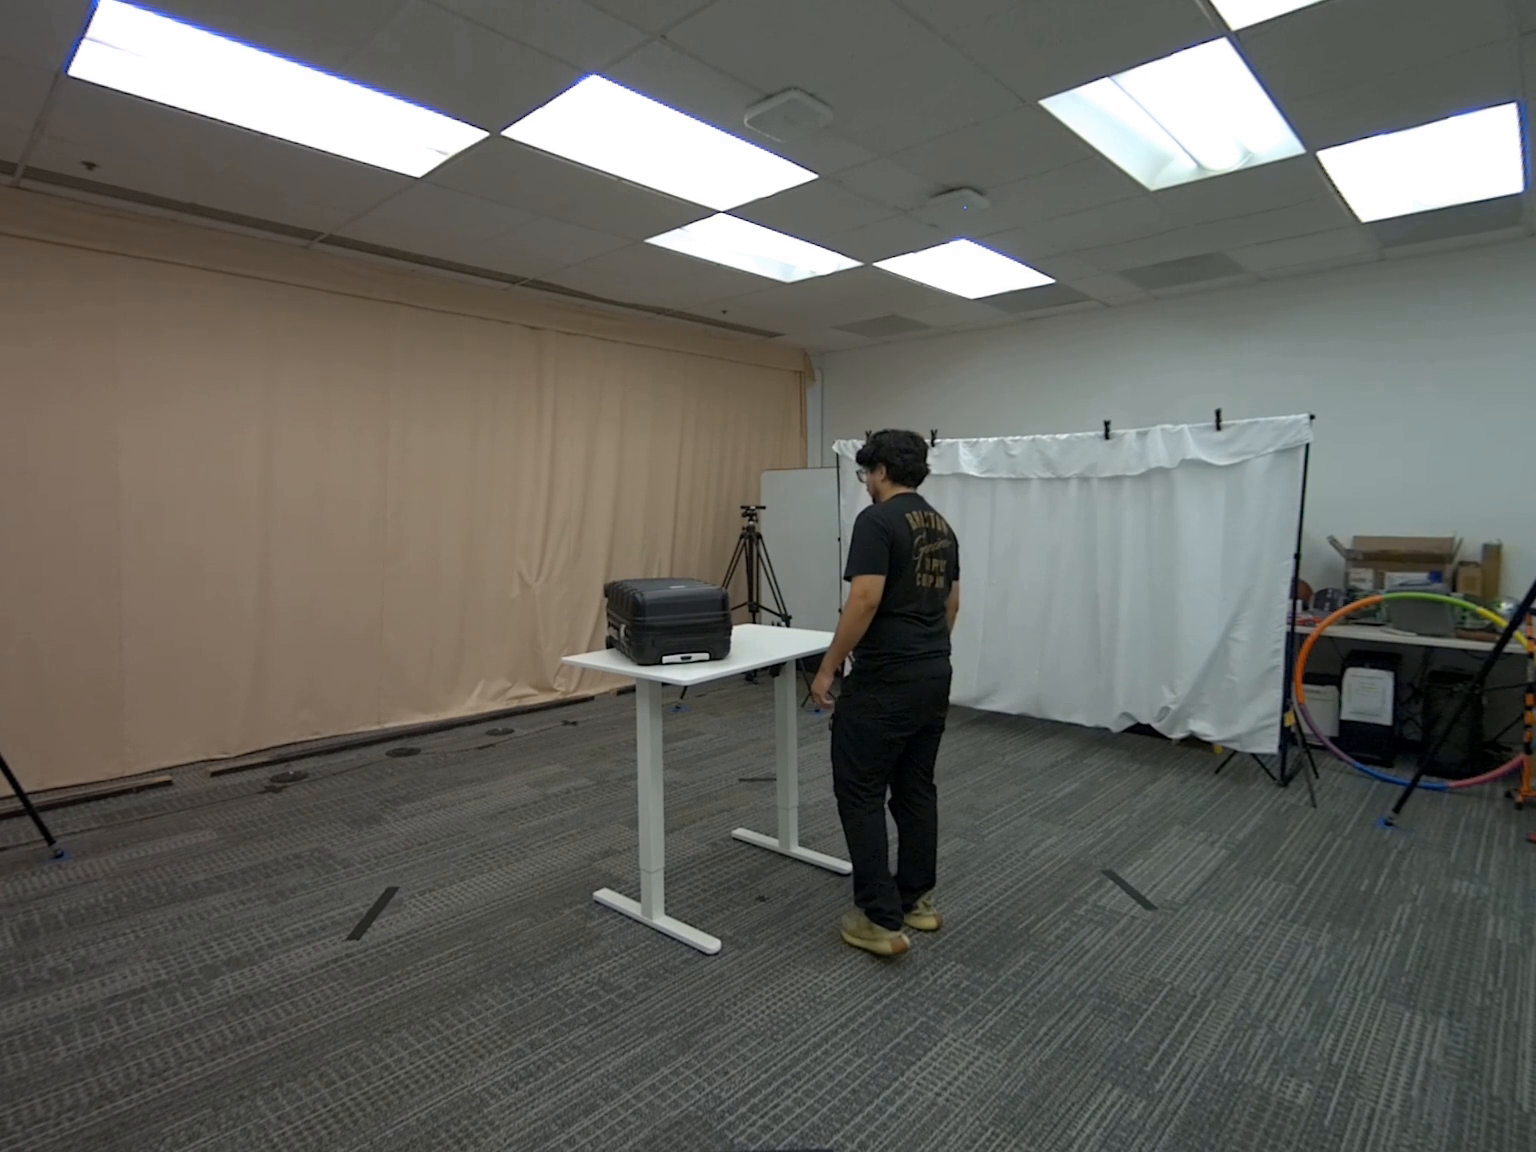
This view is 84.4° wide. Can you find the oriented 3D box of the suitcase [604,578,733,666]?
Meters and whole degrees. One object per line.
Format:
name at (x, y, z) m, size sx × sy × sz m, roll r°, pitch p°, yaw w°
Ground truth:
suitcase at (-0.354, 0.152, 2.959) m, size 0.368 × 0.247 × 0.562 m, roll -3°, pitch 5°, yaw -21°
